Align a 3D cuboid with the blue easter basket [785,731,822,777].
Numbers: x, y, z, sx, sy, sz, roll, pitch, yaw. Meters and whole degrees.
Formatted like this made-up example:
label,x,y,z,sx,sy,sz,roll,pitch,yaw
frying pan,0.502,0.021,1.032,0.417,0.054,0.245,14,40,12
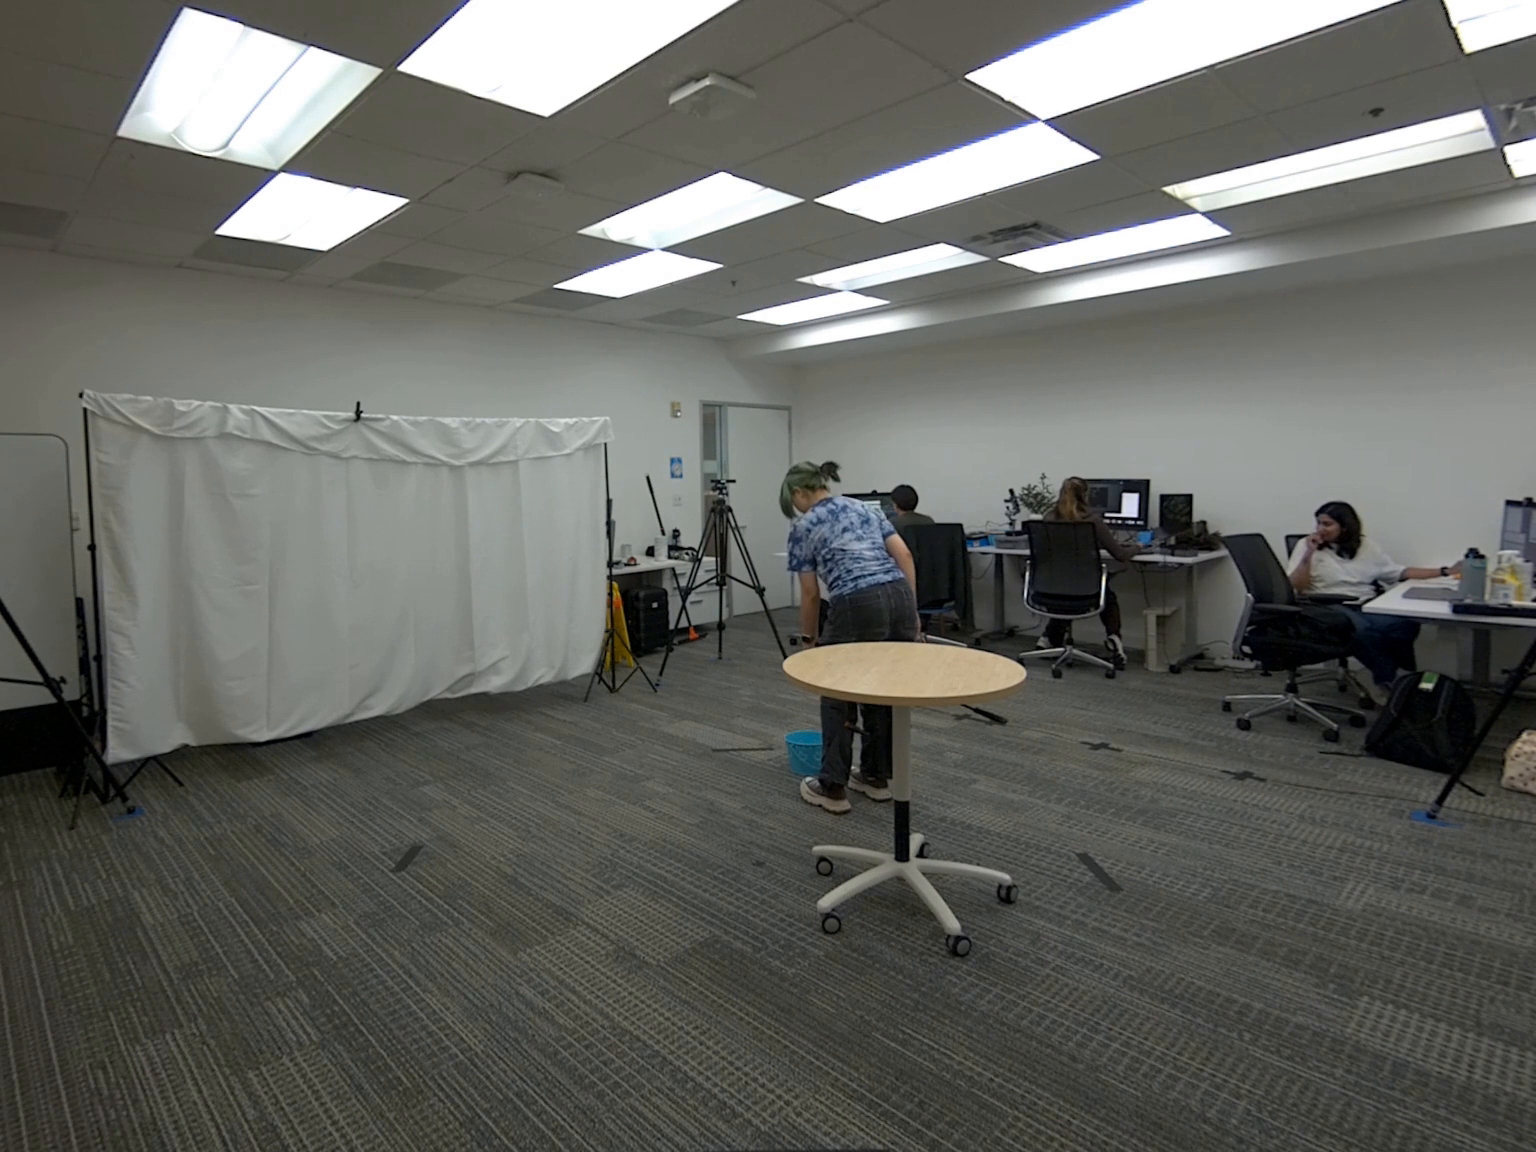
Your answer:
label,x,y,z,sx,sy,sz,roll,pitch,yaw
blue easter basket,0.199,0.854,4.116,0.243,0.155,0.244,-2,3,-2
